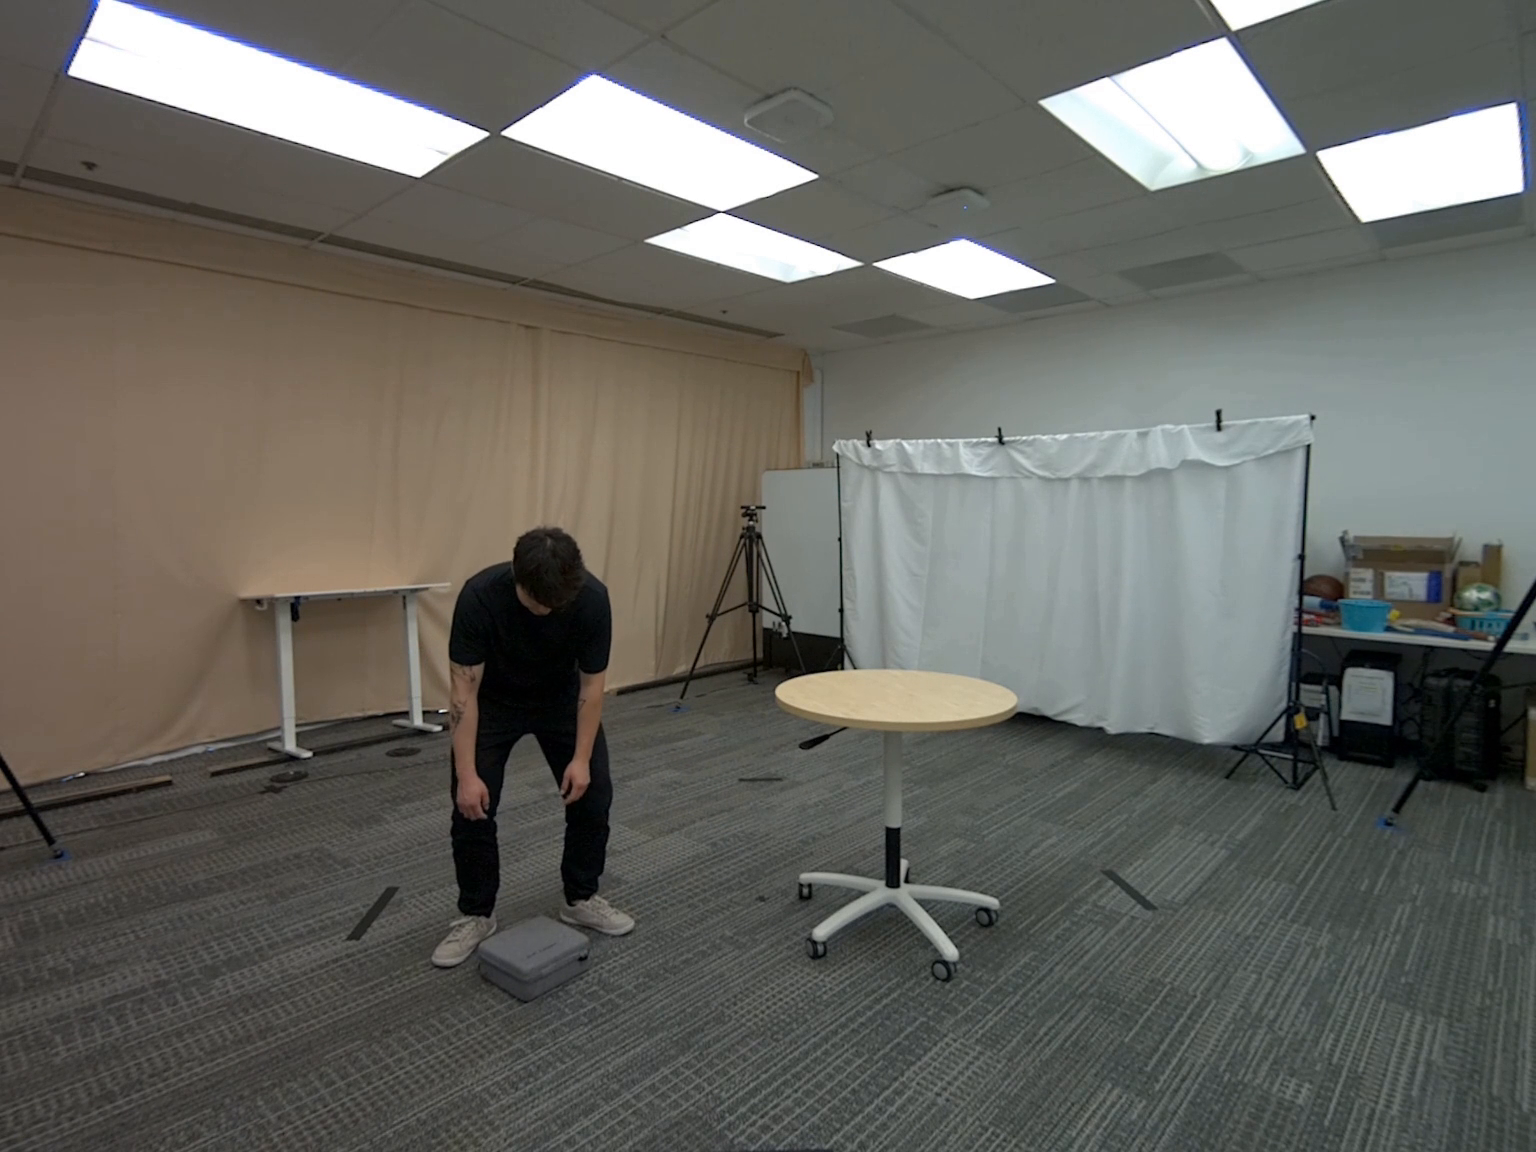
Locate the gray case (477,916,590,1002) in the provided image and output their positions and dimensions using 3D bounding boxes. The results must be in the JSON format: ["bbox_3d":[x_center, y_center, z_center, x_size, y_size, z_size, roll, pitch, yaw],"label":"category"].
[{"bbox_3d":[-0.703,1.133,2.513,0.269,0.104,0.249,3,6,39],"label":"gray case"}]
